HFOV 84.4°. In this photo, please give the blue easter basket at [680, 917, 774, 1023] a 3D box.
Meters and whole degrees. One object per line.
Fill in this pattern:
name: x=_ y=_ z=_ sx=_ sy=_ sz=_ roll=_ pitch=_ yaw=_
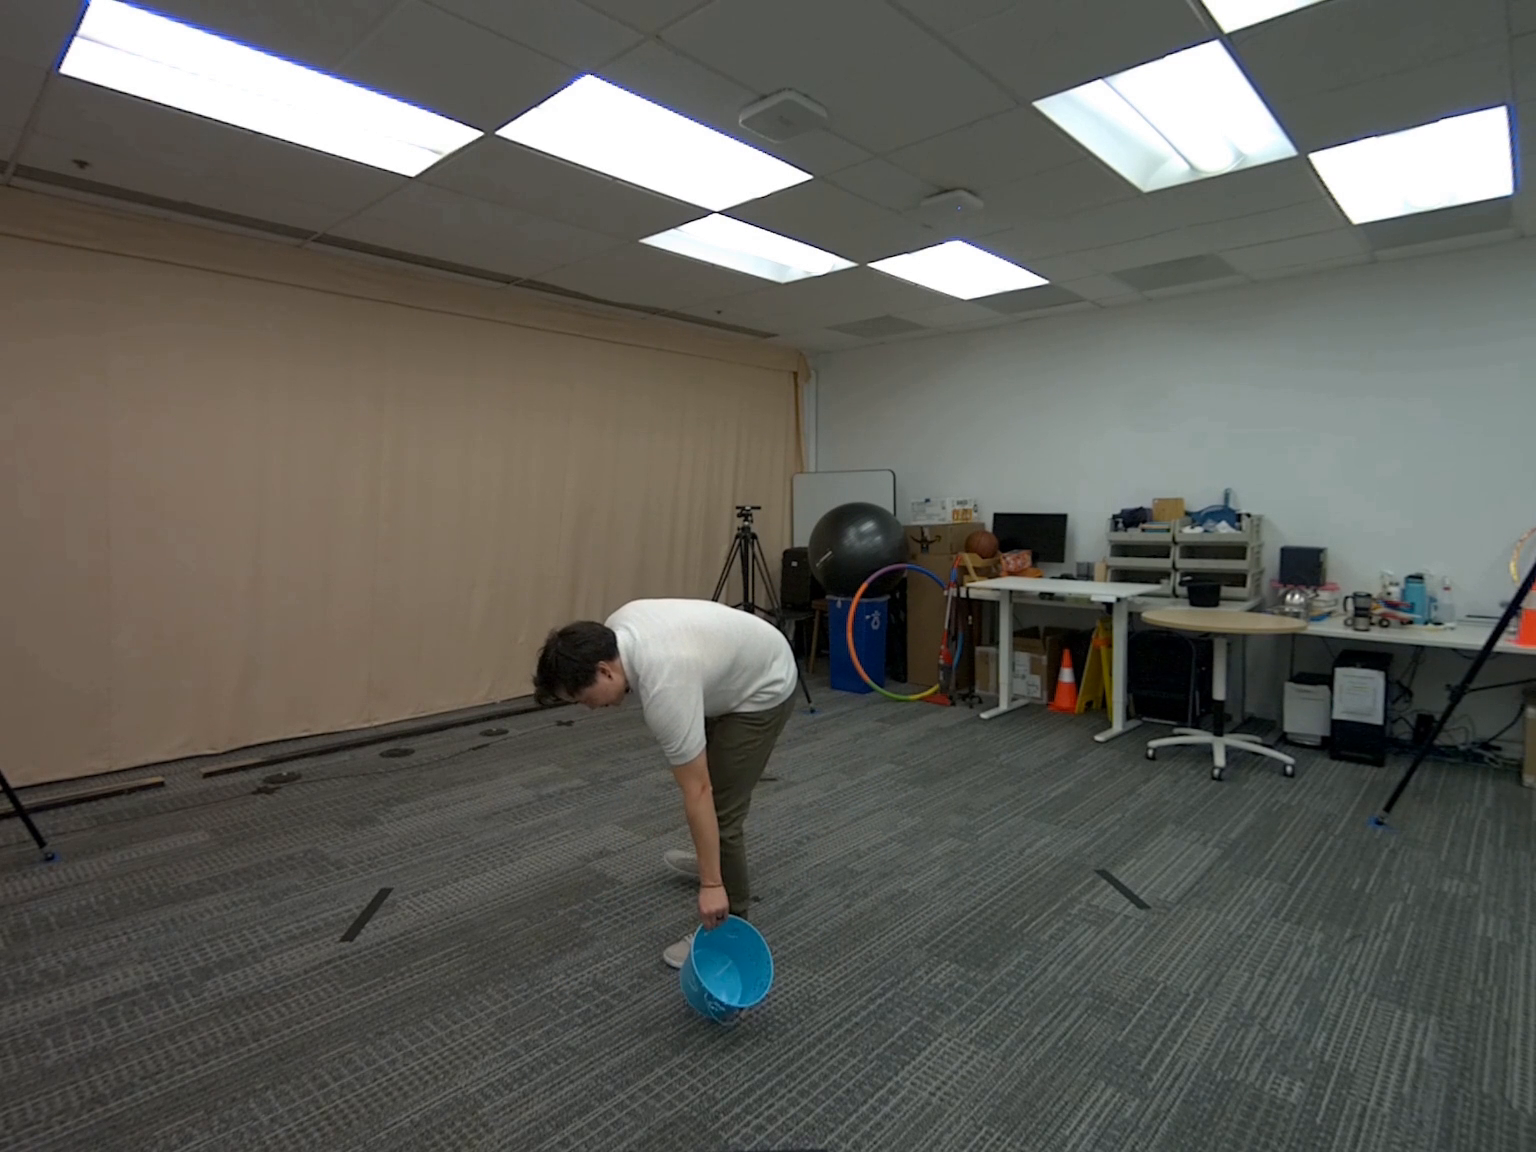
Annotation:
blue easter basket: x=-0.124 y=1.051 z=2.242 sx=0.239 sy=0.156 sz=0.248 roll=17 pitch=39 yaw=-16
